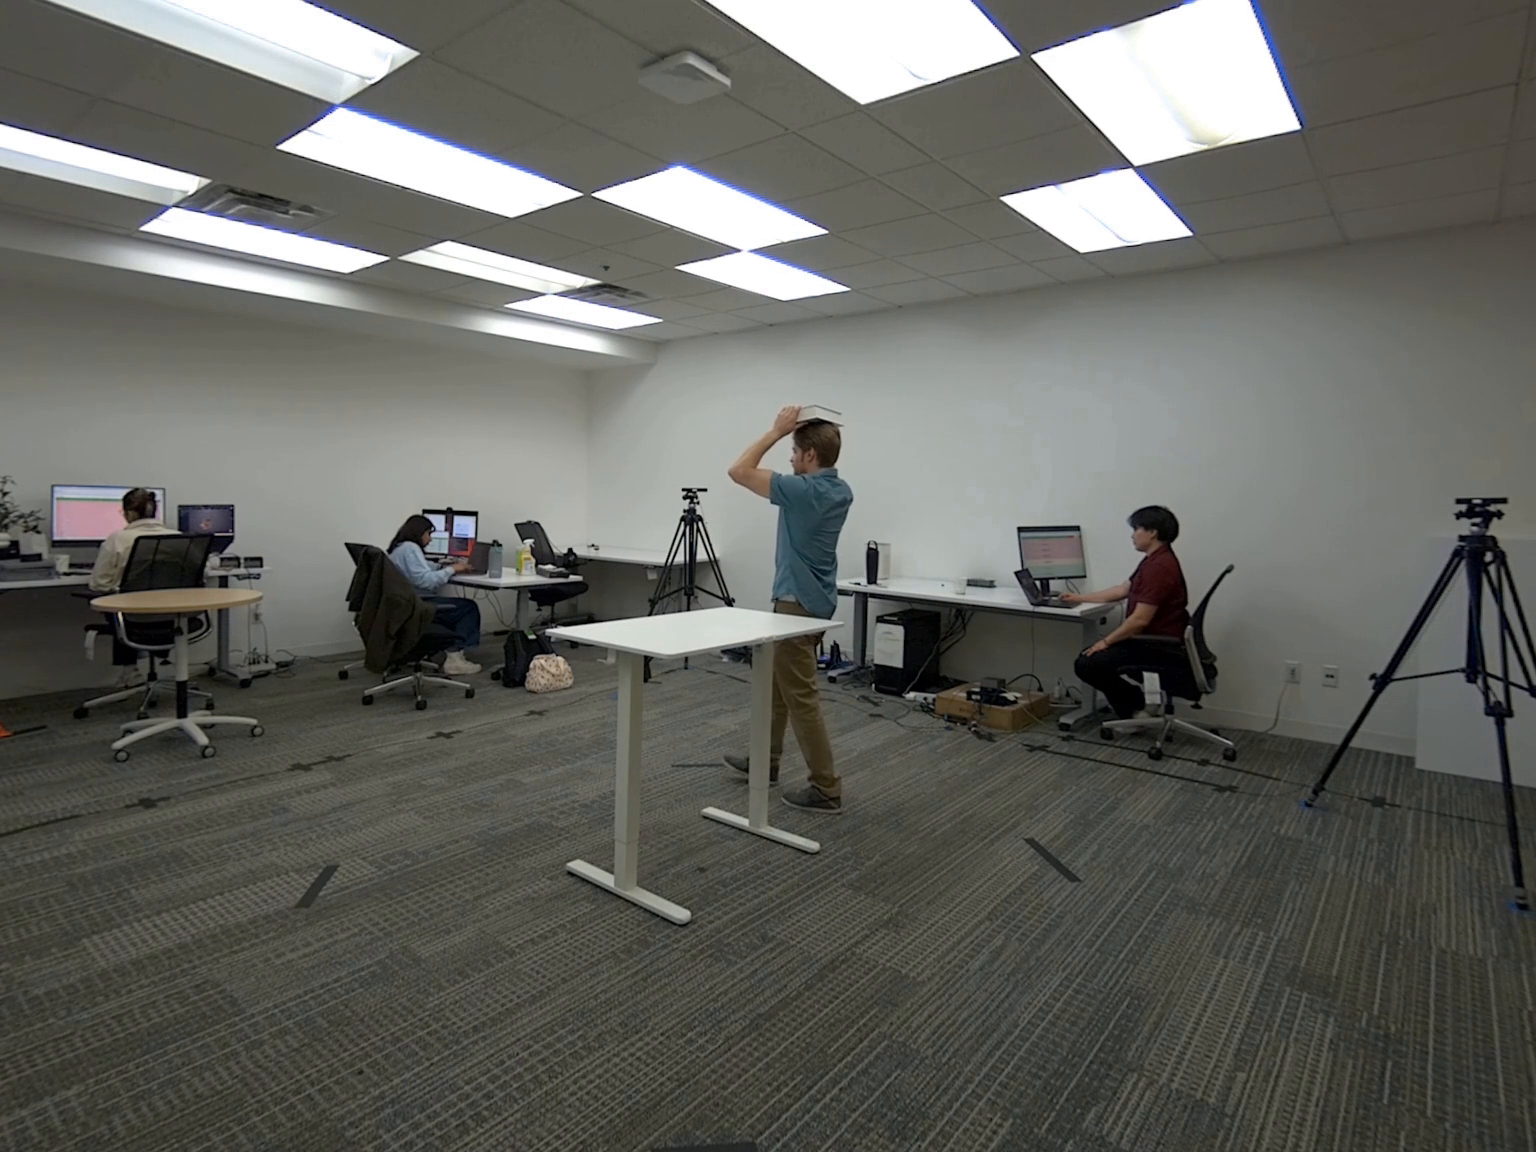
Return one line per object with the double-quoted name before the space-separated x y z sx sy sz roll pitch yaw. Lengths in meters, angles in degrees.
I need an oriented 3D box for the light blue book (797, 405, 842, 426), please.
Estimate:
"light blue book" 0.184 -0.690 3.738 0.195 0.059 0.254 -7 -3 25
